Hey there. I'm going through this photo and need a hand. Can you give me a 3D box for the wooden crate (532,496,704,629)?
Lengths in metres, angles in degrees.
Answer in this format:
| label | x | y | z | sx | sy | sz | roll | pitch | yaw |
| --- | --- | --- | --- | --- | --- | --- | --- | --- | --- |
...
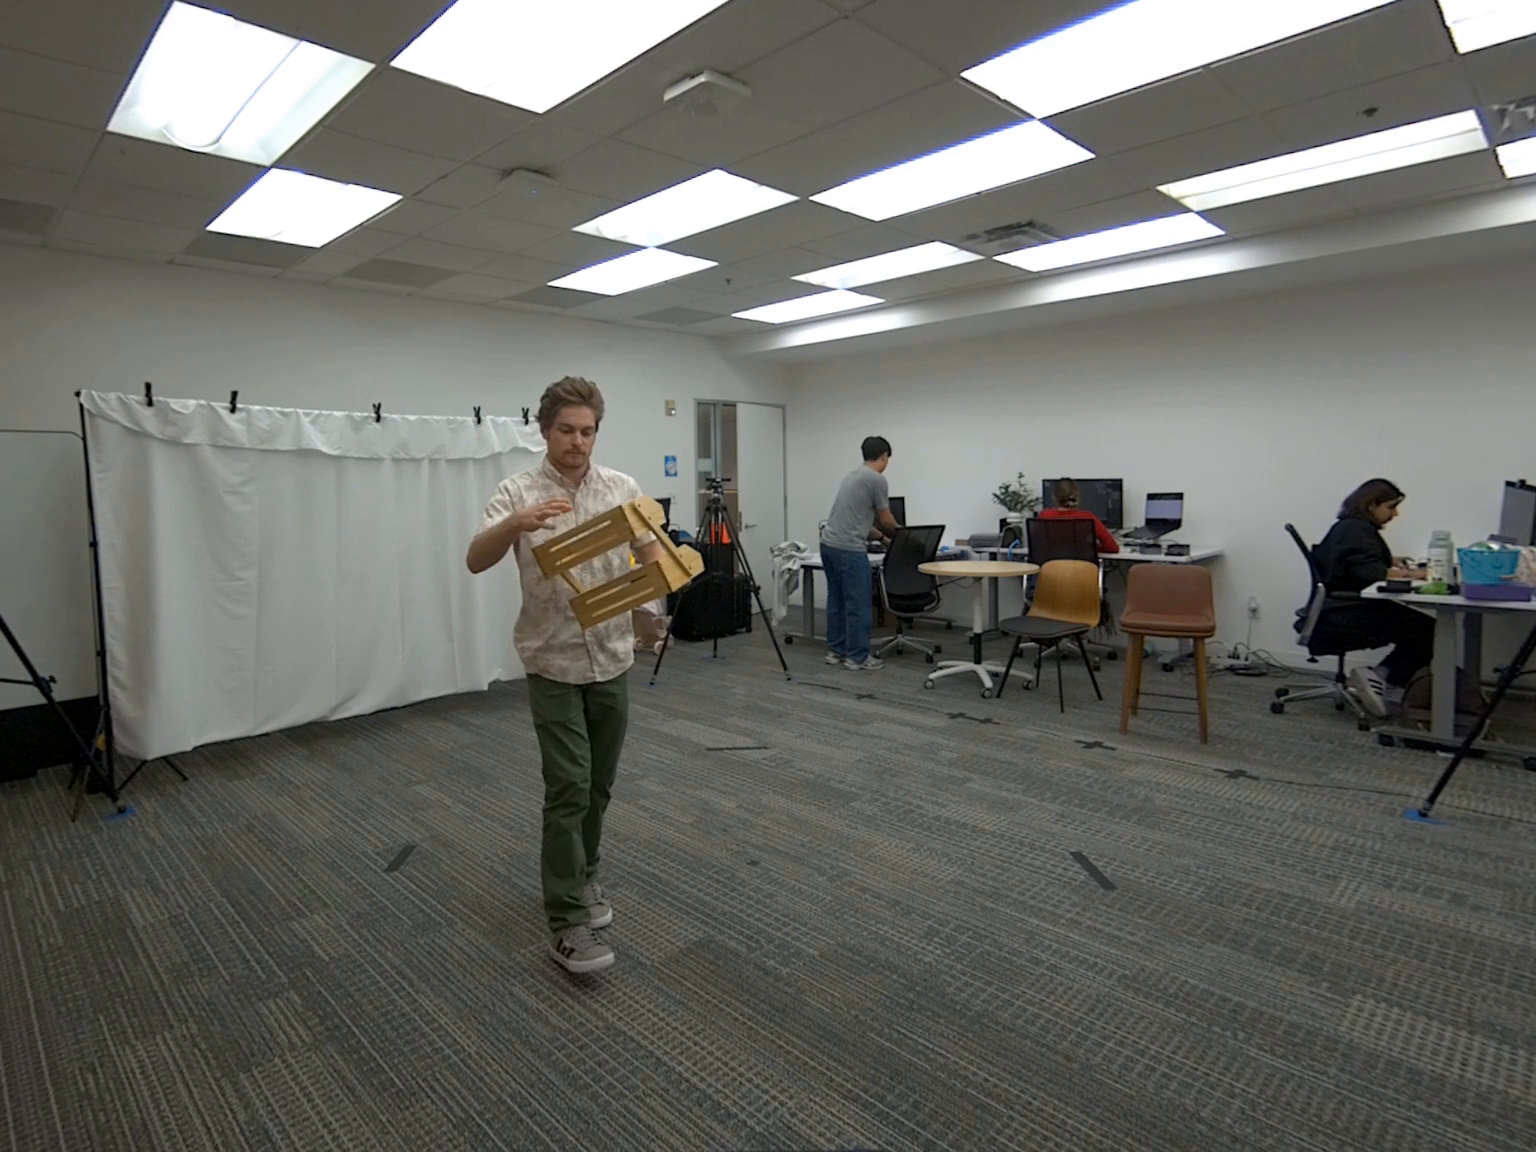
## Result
| label | x | y | z | sx | sy | sz | roll | pitch | yaw |
| --- | --- | --- | --- | --- | --- | --- | --- | --- | --- |
| wooden crate | -0.403 | -0.050 | 2.337 | 0.328 | 0.272 | 0.300 | -24 | 5 | 21 |
